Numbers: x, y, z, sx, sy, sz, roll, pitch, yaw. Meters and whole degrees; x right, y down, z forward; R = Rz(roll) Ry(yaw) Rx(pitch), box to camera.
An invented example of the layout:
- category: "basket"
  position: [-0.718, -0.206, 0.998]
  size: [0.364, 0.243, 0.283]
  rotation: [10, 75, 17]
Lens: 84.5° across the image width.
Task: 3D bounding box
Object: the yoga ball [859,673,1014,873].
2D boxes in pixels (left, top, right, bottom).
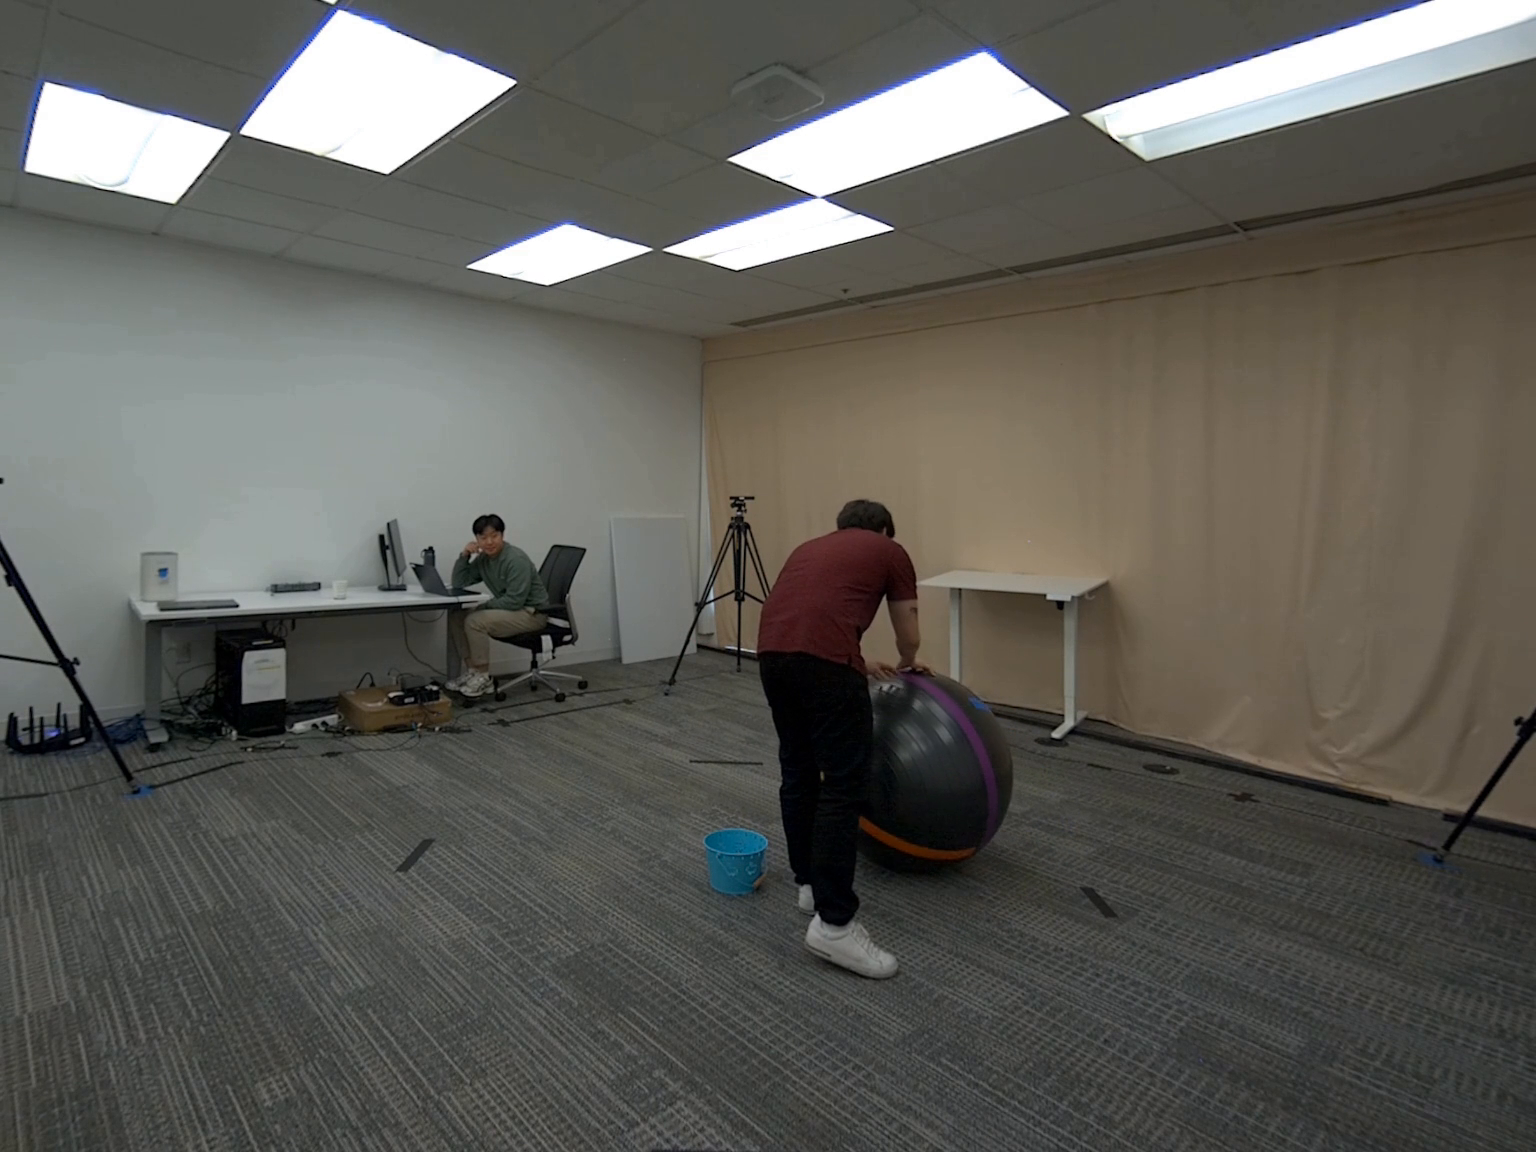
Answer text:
- category: "yoga ball"
  position: [0.554, 0.744, 3.267]
  size: [0.757, 0.756, 0.761]
  rotation: [1, 4, -1]
